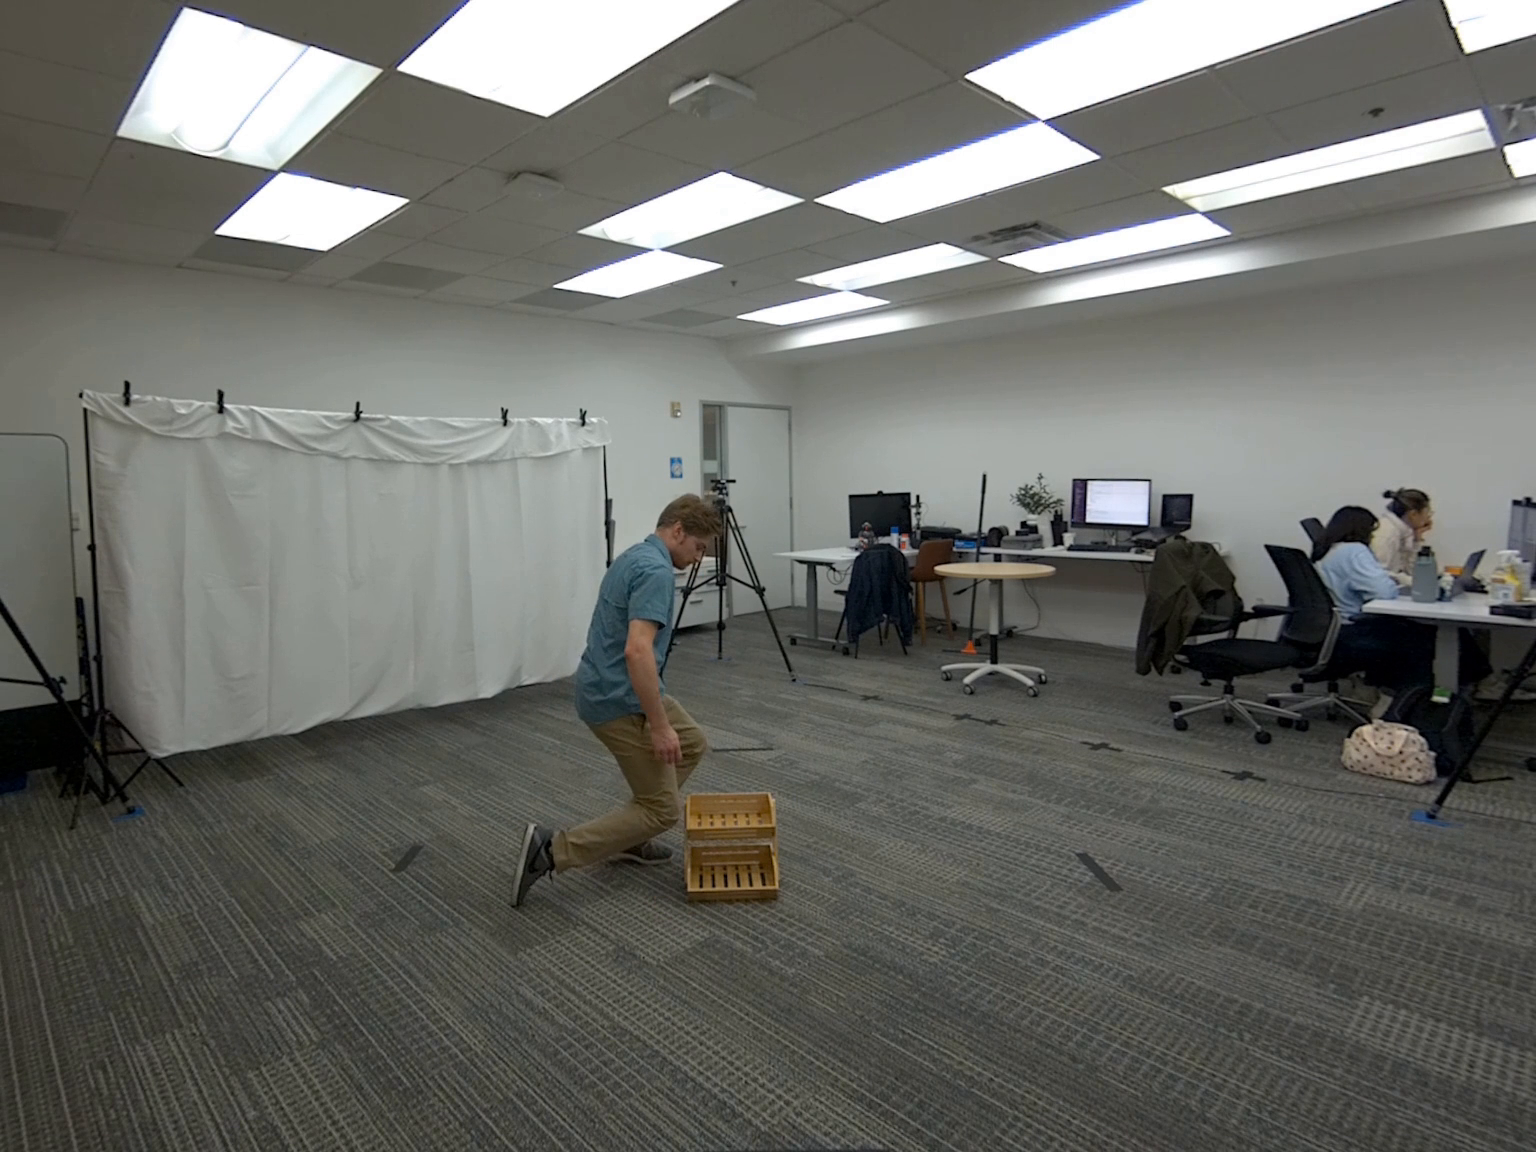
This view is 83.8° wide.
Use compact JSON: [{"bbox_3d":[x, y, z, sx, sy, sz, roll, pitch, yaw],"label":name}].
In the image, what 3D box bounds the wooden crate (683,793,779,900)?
[{"bbox_3d":[-0.123,0.933,2.953,0.323,0.272,0.304,-1,6,-4],"label":"wooden crate"}]
